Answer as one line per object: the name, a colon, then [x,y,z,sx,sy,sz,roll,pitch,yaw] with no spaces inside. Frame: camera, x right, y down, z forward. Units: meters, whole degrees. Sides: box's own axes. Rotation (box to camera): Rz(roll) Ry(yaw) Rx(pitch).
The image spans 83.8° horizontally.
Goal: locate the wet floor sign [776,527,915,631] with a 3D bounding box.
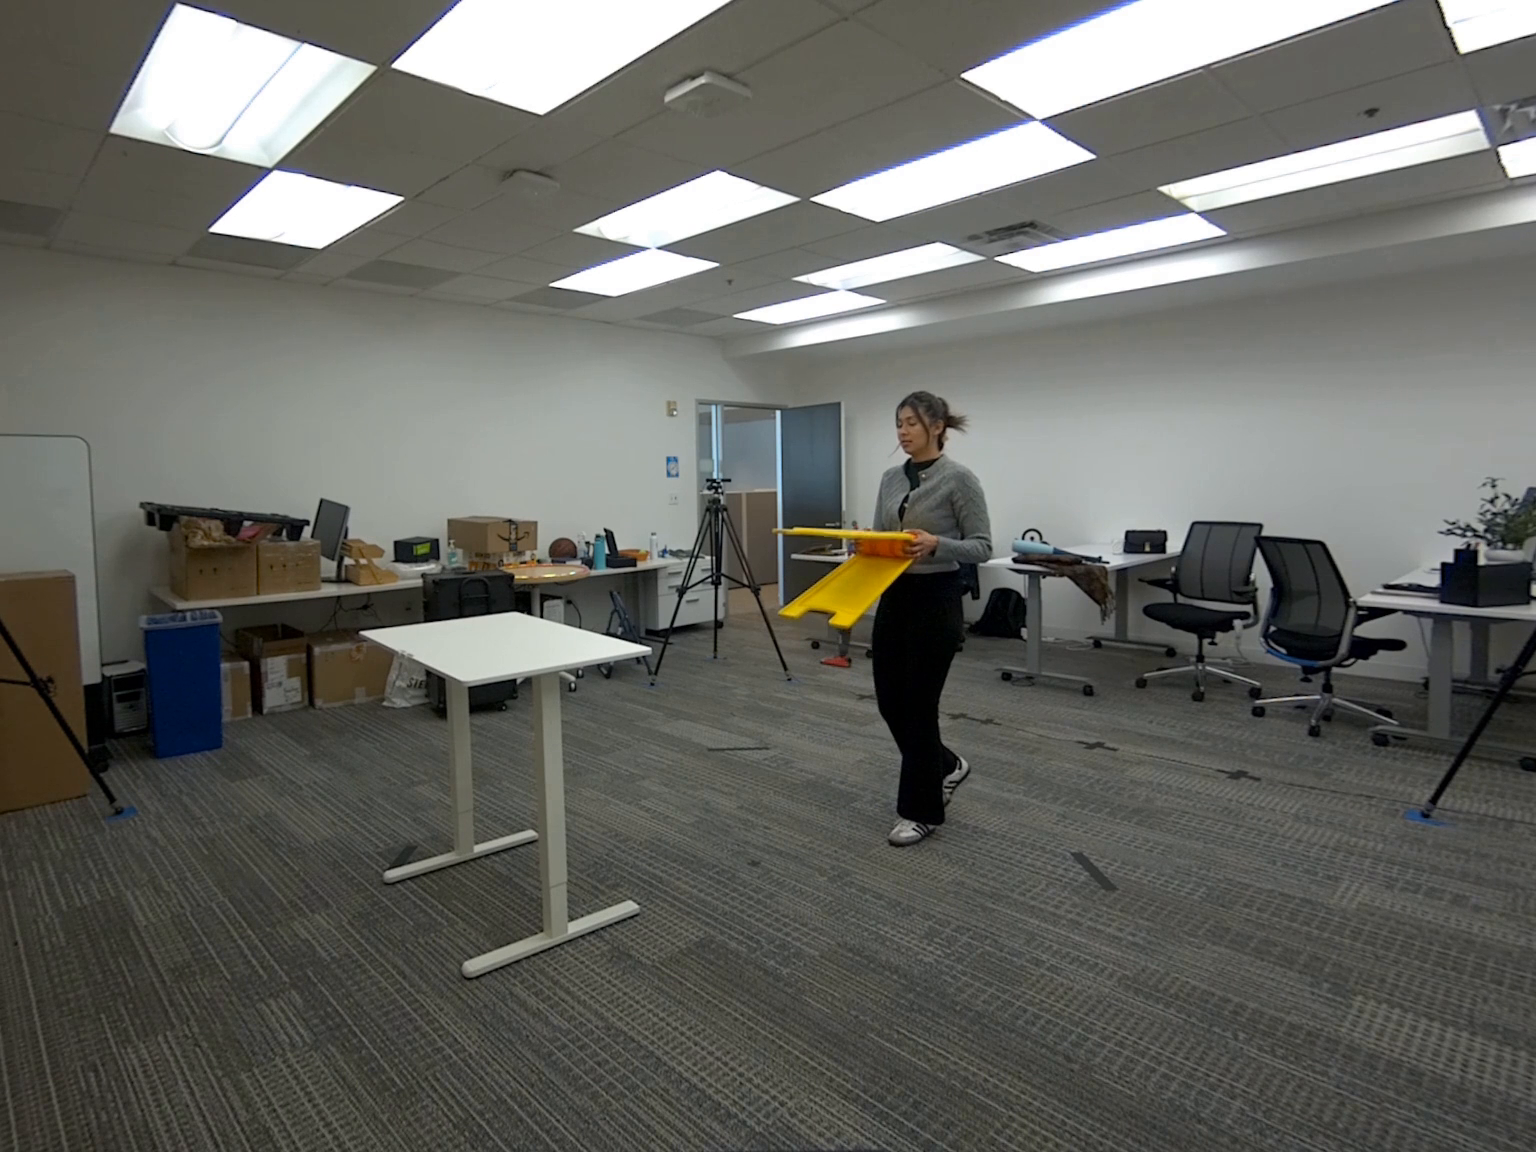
wet floor sign: [0.335,-0.068,2.969,0.291,0.286,0.634,6,18,38]
